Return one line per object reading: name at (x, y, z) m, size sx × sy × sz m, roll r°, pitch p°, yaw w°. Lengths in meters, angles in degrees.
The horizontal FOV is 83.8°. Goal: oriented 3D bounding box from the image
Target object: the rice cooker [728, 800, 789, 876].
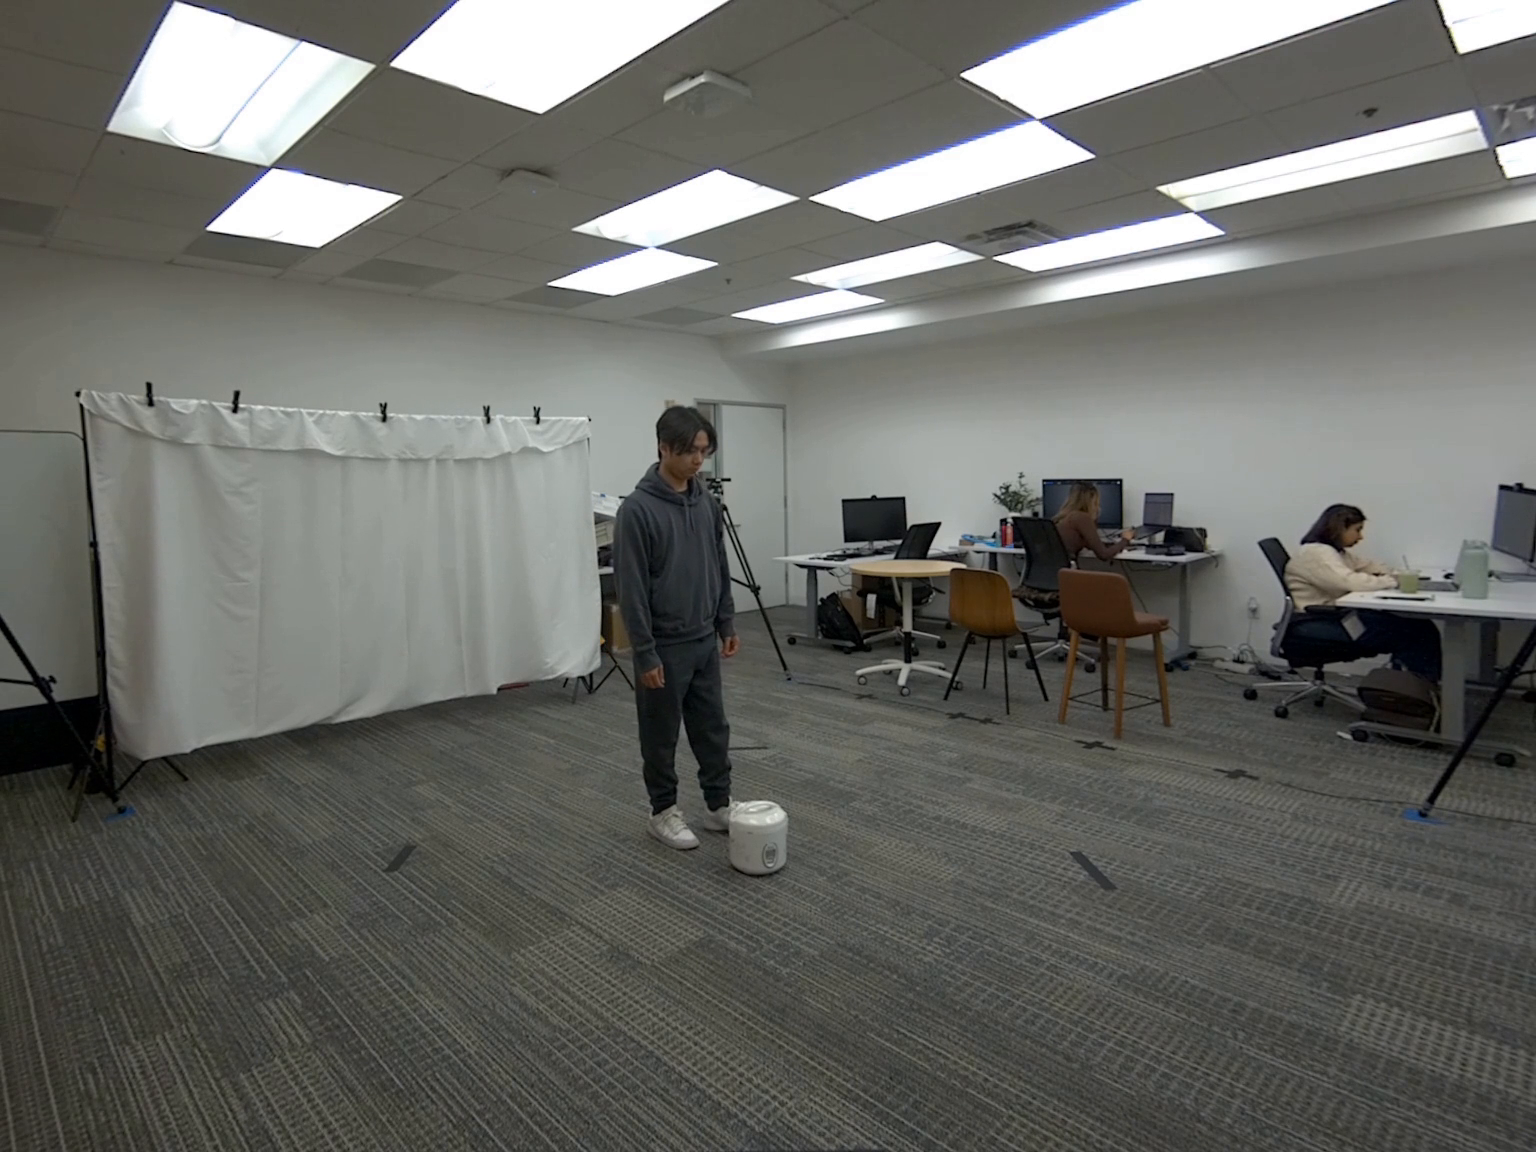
rice cooker at (-0.032, 0.928, 3.079) m, size 0.216 × 0.232 × 0.222 m, roll -3°, pitch 4°, yaw -23°
